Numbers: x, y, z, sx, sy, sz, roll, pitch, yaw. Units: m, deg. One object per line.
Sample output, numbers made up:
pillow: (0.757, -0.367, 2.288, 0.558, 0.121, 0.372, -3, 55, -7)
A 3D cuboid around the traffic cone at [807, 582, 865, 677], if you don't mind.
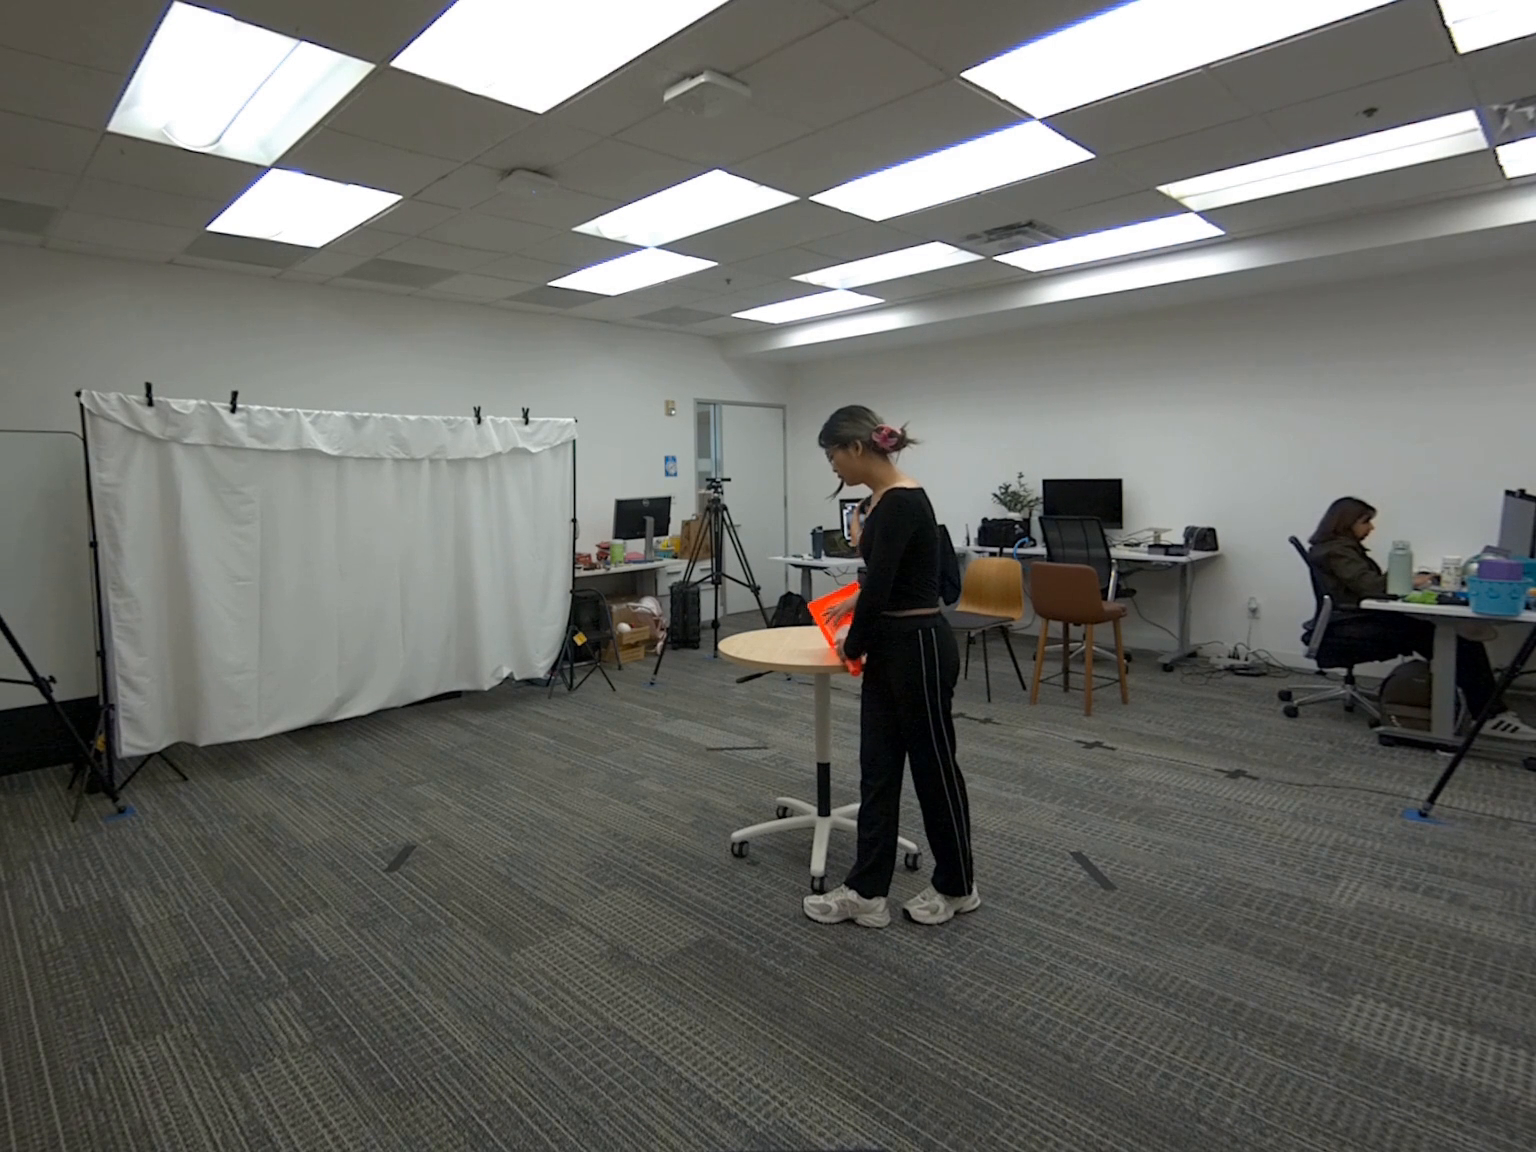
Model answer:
traffic cone: (0.284, 0.227, 2.836, 0.203, 0.200, 0.392, -42, 20, 15)
